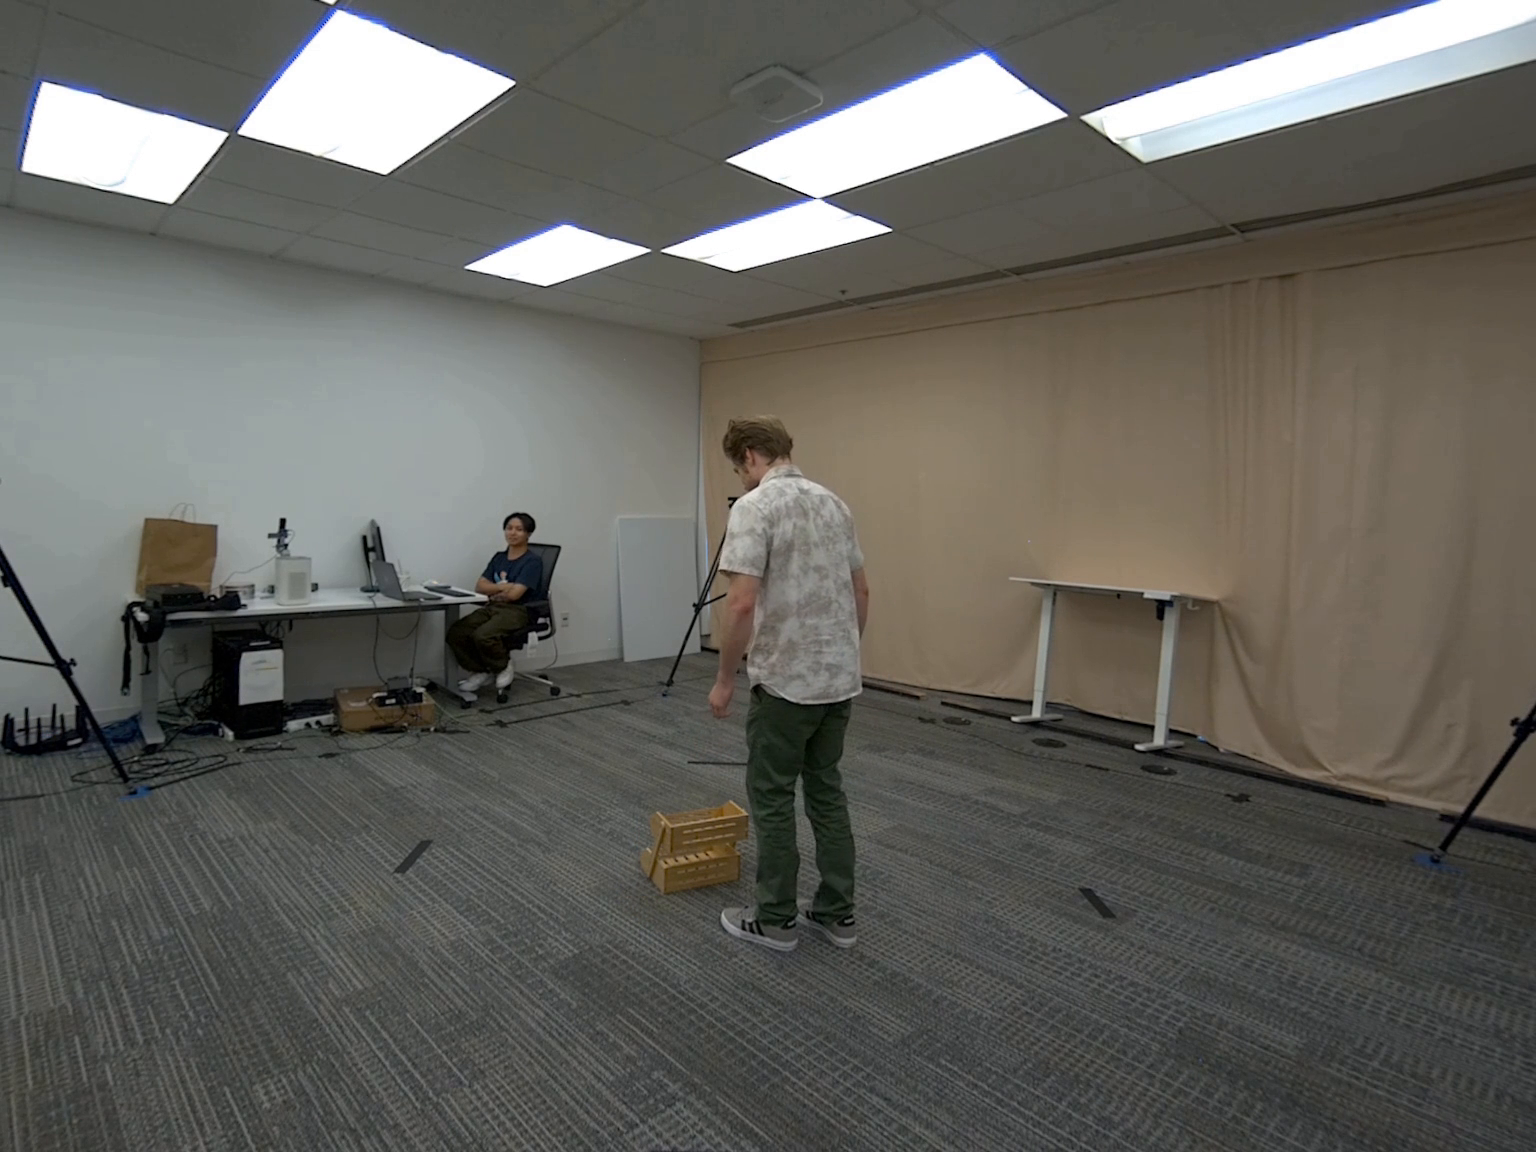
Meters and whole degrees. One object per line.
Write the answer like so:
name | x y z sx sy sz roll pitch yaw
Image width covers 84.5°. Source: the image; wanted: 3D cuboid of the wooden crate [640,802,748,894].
wooden crate | -0.285 0.973 3.100 0.318 0.272 0.309 -1 5 -28
